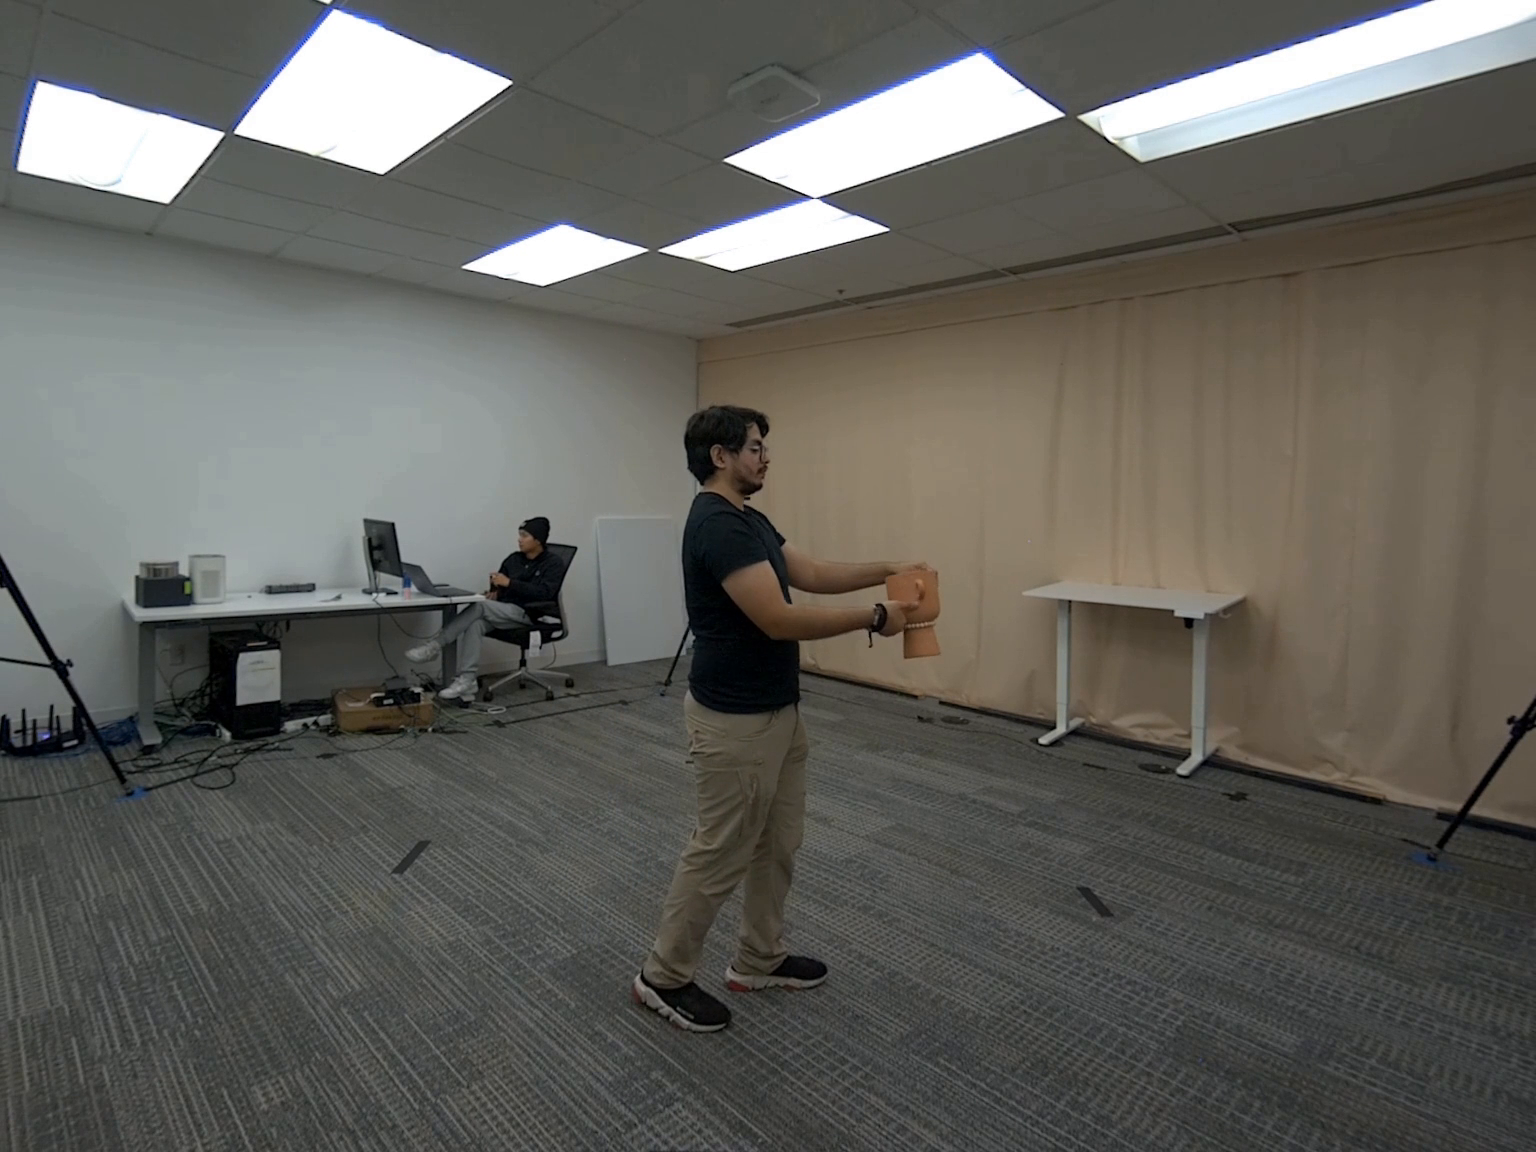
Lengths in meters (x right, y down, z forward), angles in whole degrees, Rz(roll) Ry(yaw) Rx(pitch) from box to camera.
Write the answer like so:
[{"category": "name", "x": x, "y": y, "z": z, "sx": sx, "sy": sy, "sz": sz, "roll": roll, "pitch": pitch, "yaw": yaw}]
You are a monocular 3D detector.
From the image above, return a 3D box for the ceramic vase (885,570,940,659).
[{"category": "ceramic vase", "x": 0.379, "y": 0.104, "z": 2.231, "sx": 0.137, "sy": 0.221, "sz": 0.155, "roll": -12, "pitch": -10, "yaw": 36}]
